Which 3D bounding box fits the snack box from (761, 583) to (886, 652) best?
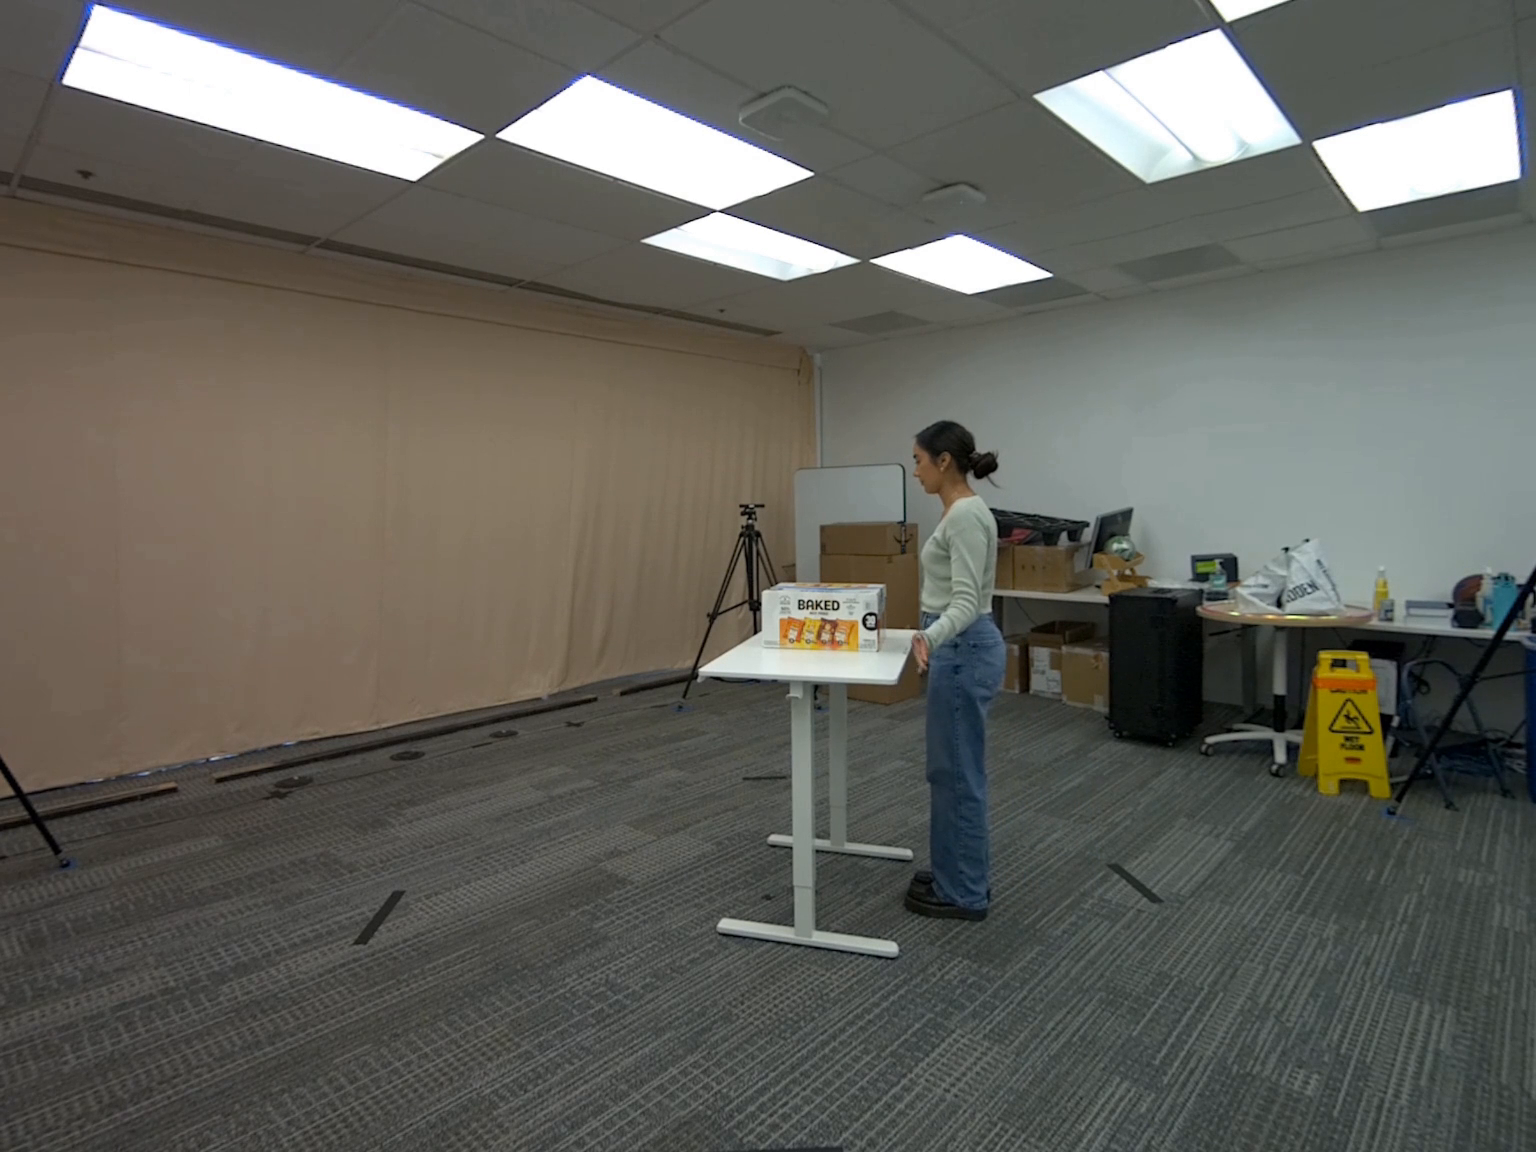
[{"bbox_3d":[0.216,0.145,3.083,0.412,0.205,0.335,1,4,14],"label":"snack box"}]
